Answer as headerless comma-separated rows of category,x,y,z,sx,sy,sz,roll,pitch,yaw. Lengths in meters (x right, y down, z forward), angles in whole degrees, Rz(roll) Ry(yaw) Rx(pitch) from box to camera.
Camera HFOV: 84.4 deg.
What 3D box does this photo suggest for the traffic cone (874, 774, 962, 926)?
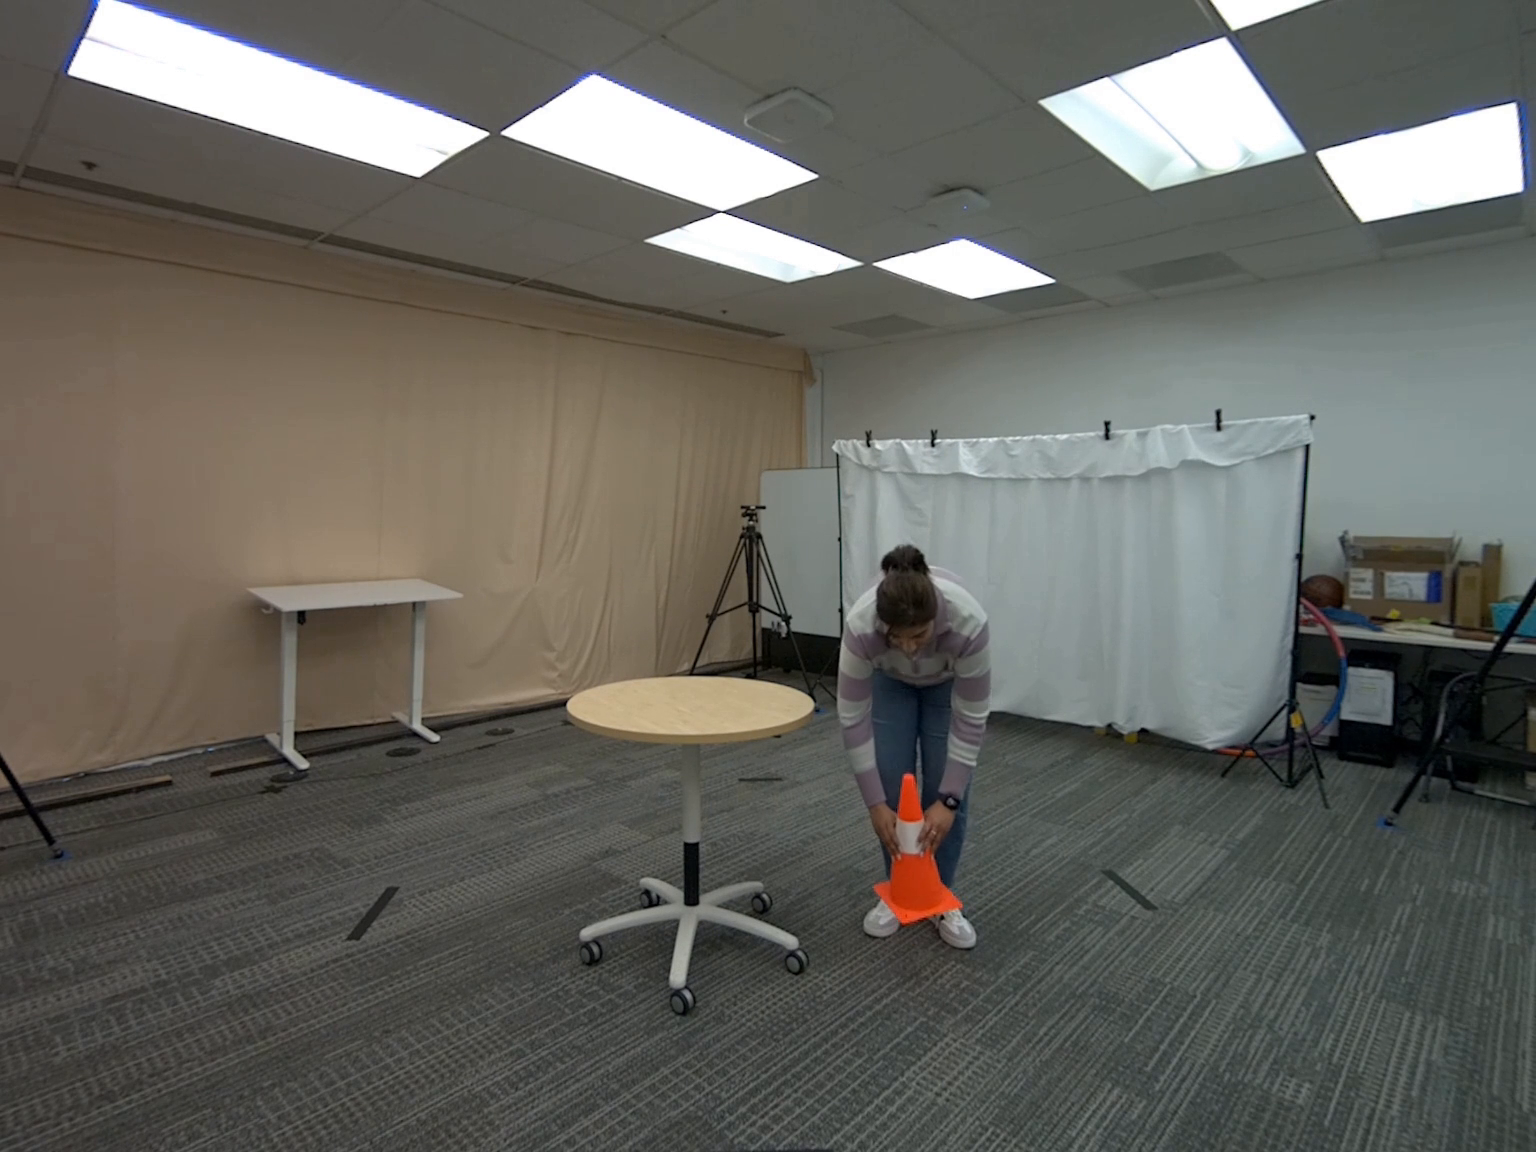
traffic cone,0.429,0.766,2.457,0.198,0.382,0.211,-9,7,-31
